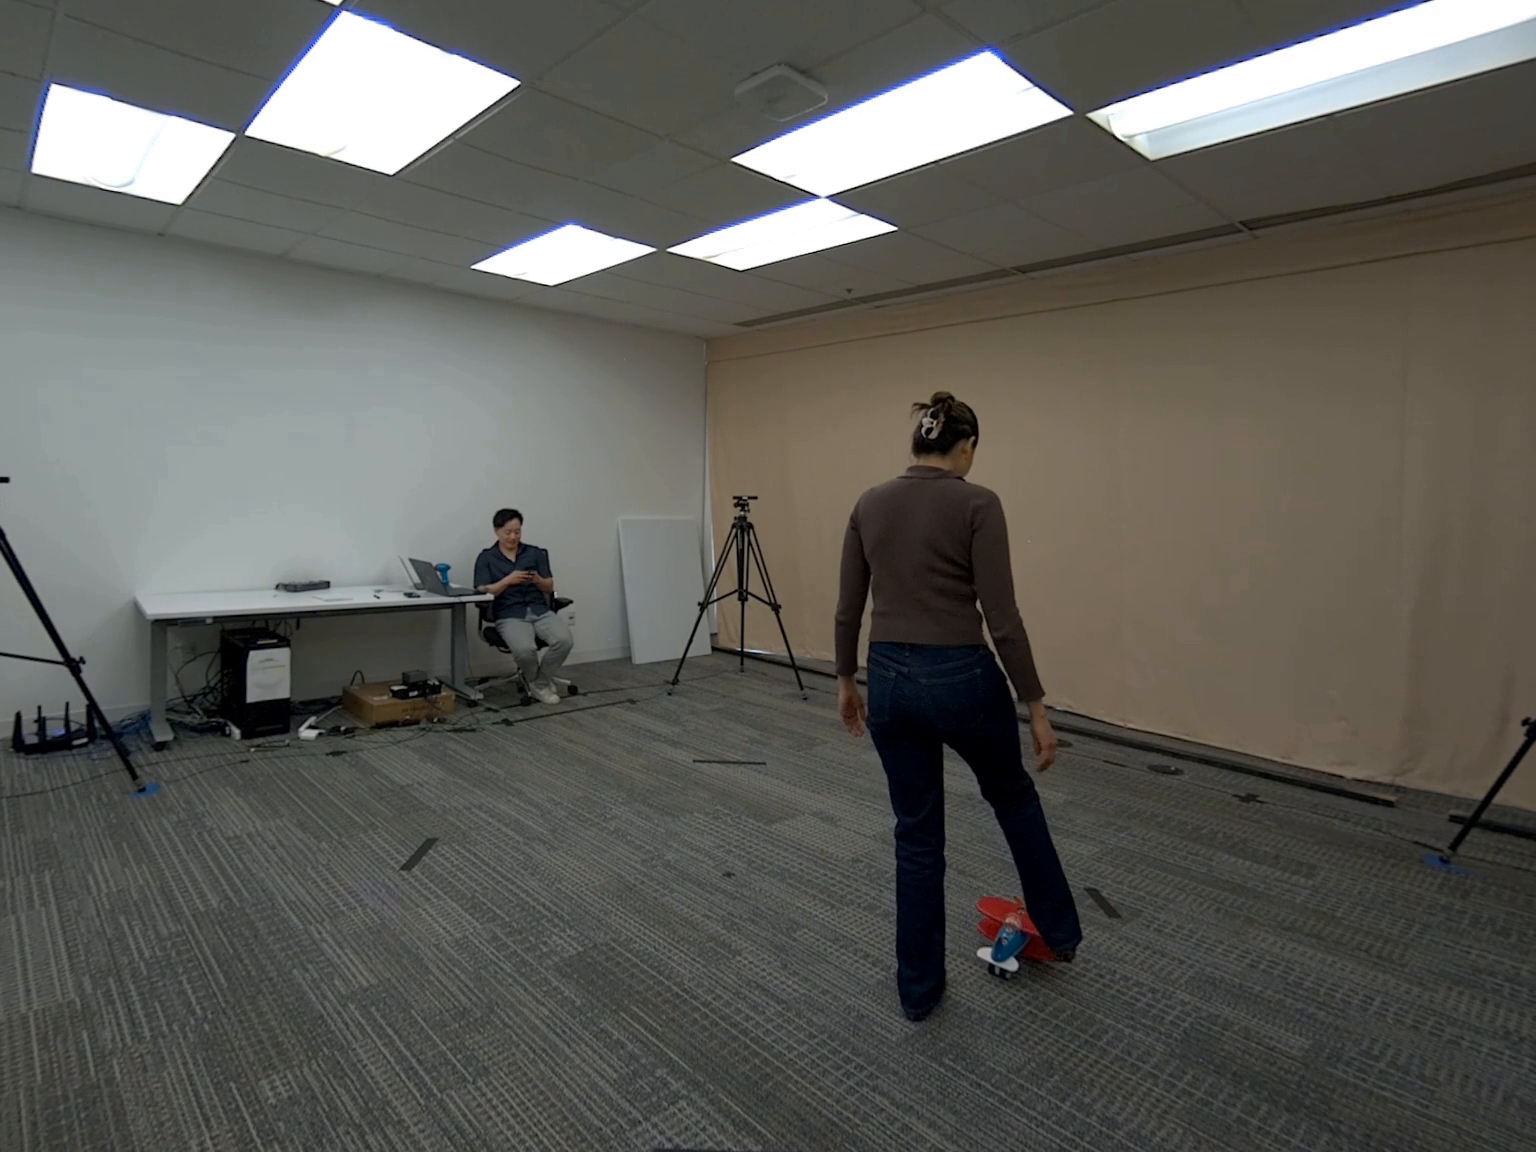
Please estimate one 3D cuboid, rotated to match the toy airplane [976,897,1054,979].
[{"bbox_3d":[0.754,1.108,2.537,0.254,0.156,0.257,6,6,11],"label":"toy airplane"}]
